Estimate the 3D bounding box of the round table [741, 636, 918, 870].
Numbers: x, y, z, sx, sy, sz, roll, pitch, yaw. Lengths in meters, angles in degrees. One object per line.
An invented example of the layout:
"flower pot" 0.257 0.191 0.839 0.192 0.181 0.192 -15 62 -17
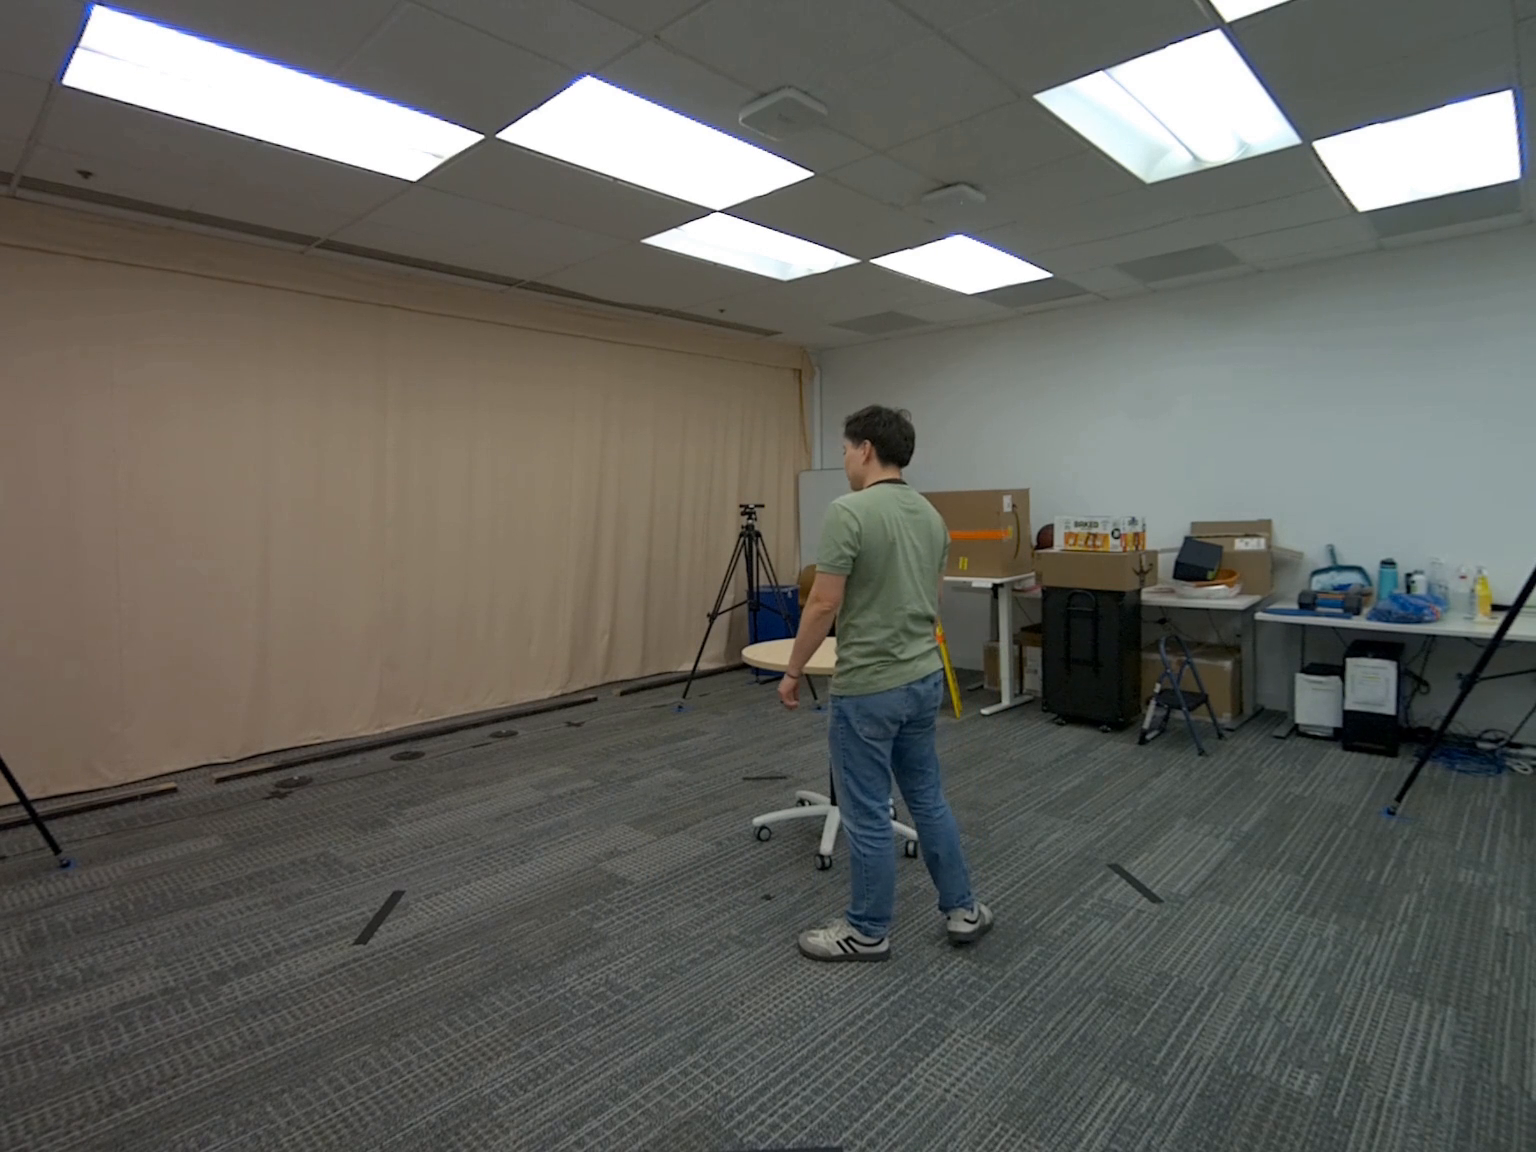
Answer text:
"round table" 0.278 0.702 3.485 0.763 0.792 0.766 -1 3 -2
